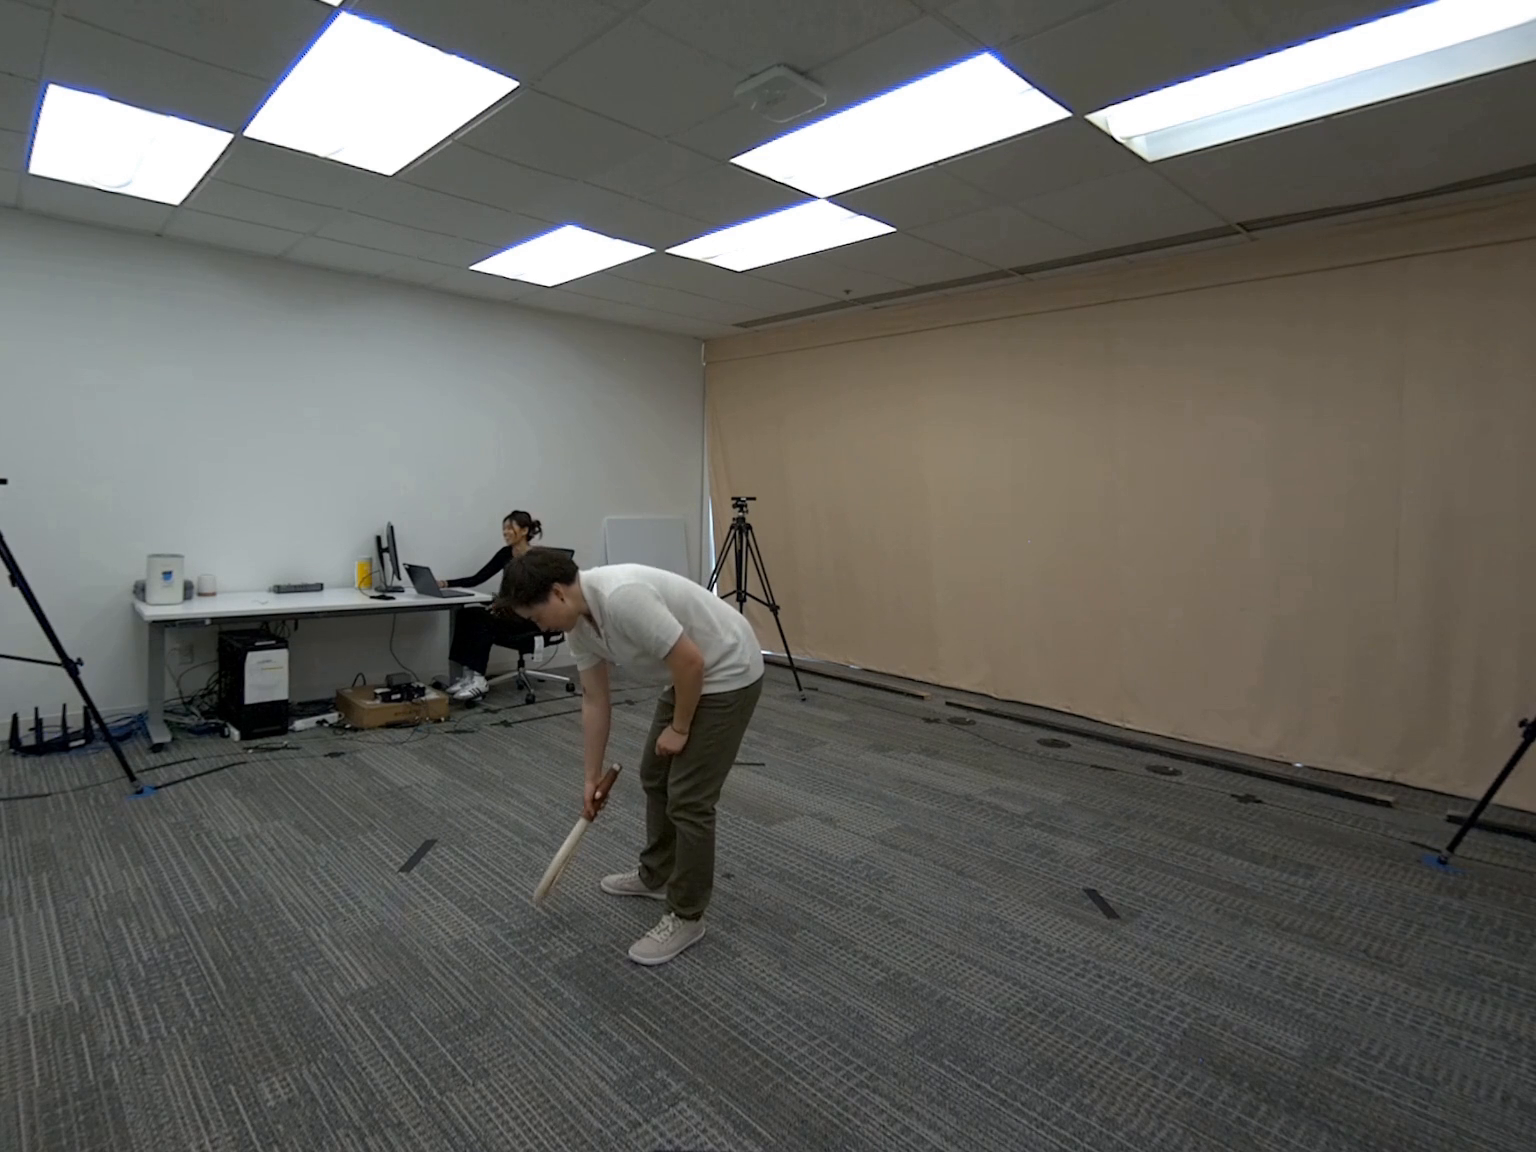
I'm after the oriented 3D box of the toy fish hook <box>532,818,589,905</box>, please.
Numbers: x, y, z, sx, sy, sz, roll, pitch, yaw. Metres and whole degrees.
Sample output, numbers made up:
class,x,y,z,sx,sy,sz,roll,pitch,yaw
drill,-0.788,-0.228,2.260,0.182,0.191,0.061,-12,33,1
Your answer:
class,x,y,z,sx,sy,sz,roll,pitch,yaw
toy fish hook,-0.616,0.829,2.751,0.048,0.508,0.223,31,-10,2
